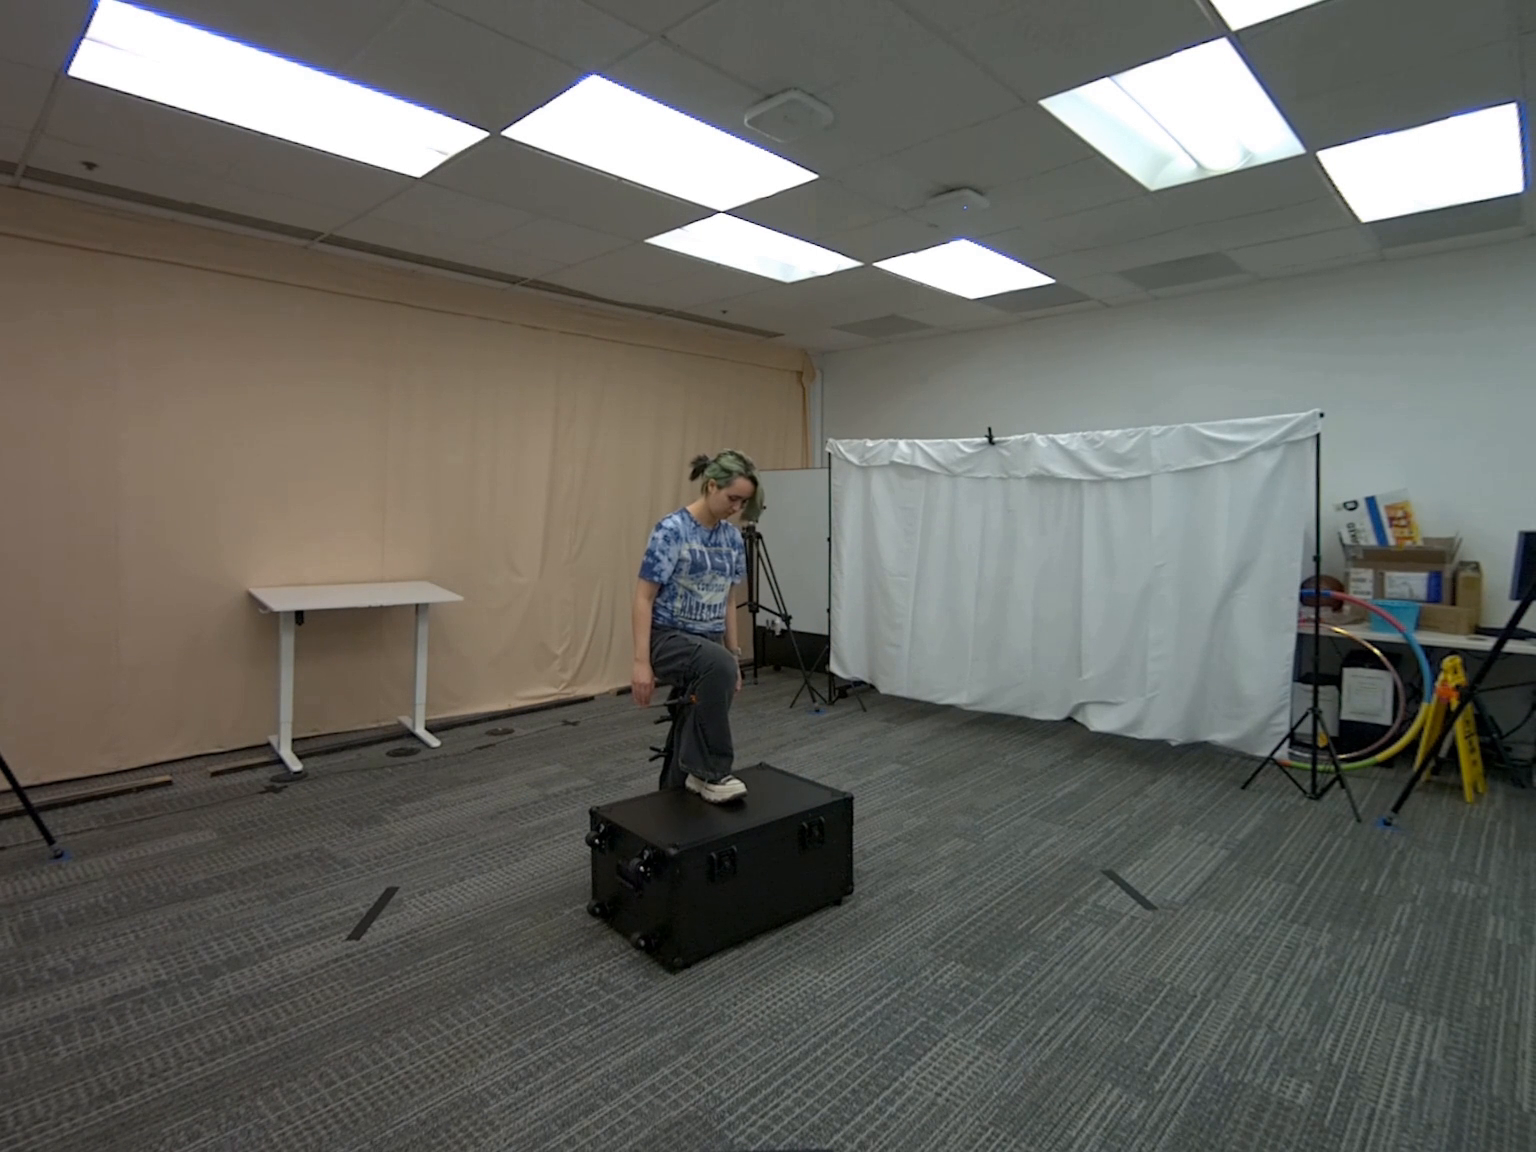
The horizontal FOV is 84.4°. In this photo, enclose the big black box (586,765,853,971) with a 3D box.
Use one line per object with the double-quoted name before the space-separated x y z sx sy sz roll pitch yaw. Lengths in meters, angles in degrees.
"big black box" -0.174 0.963 2.886 0.835 0.395 0.538 -4 5 -40
